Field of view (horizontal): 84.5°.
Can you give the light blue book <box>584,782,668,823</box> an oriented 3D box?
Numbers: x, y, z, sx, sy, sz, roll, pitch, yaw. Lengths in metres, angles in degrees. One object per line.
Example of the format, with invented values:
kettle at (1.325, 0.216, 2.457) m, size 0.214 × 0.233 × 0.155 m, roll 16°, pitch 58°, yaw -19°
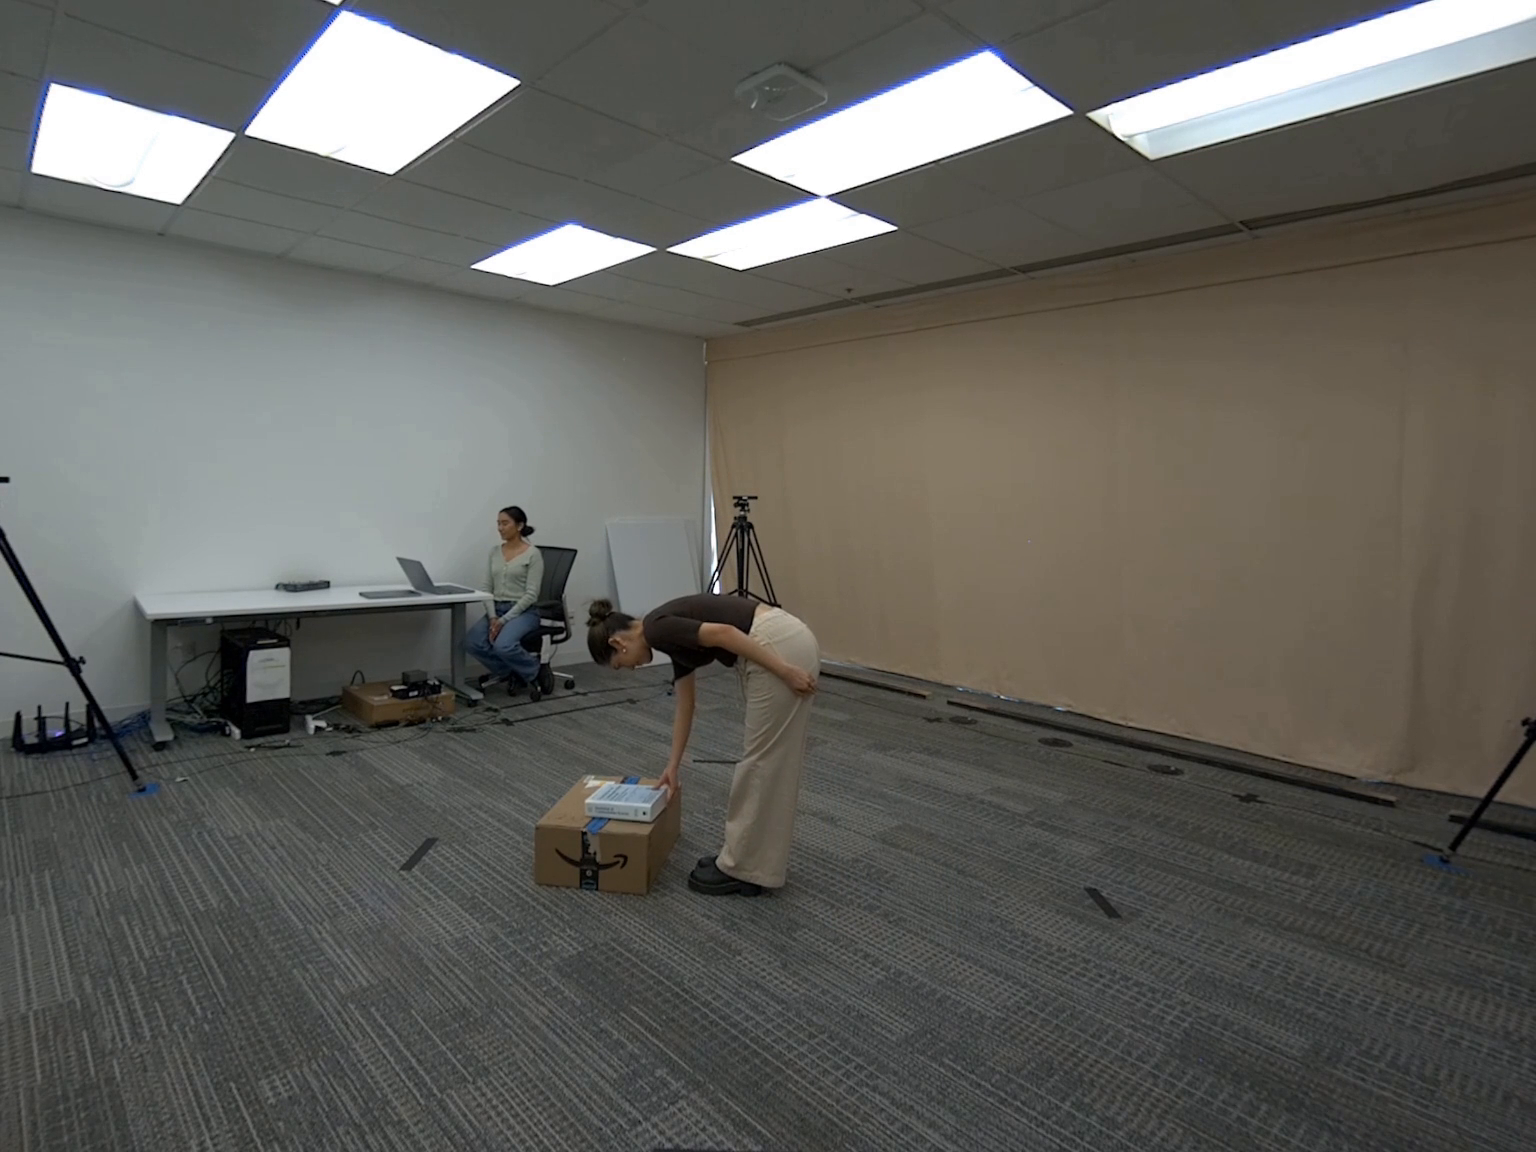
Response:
light blue book at (-0.527, 0.831, 3.147) m, size 0.264 × 0.059 × 0.190 m, roll -1°, pitch 6°, yaw 16°
